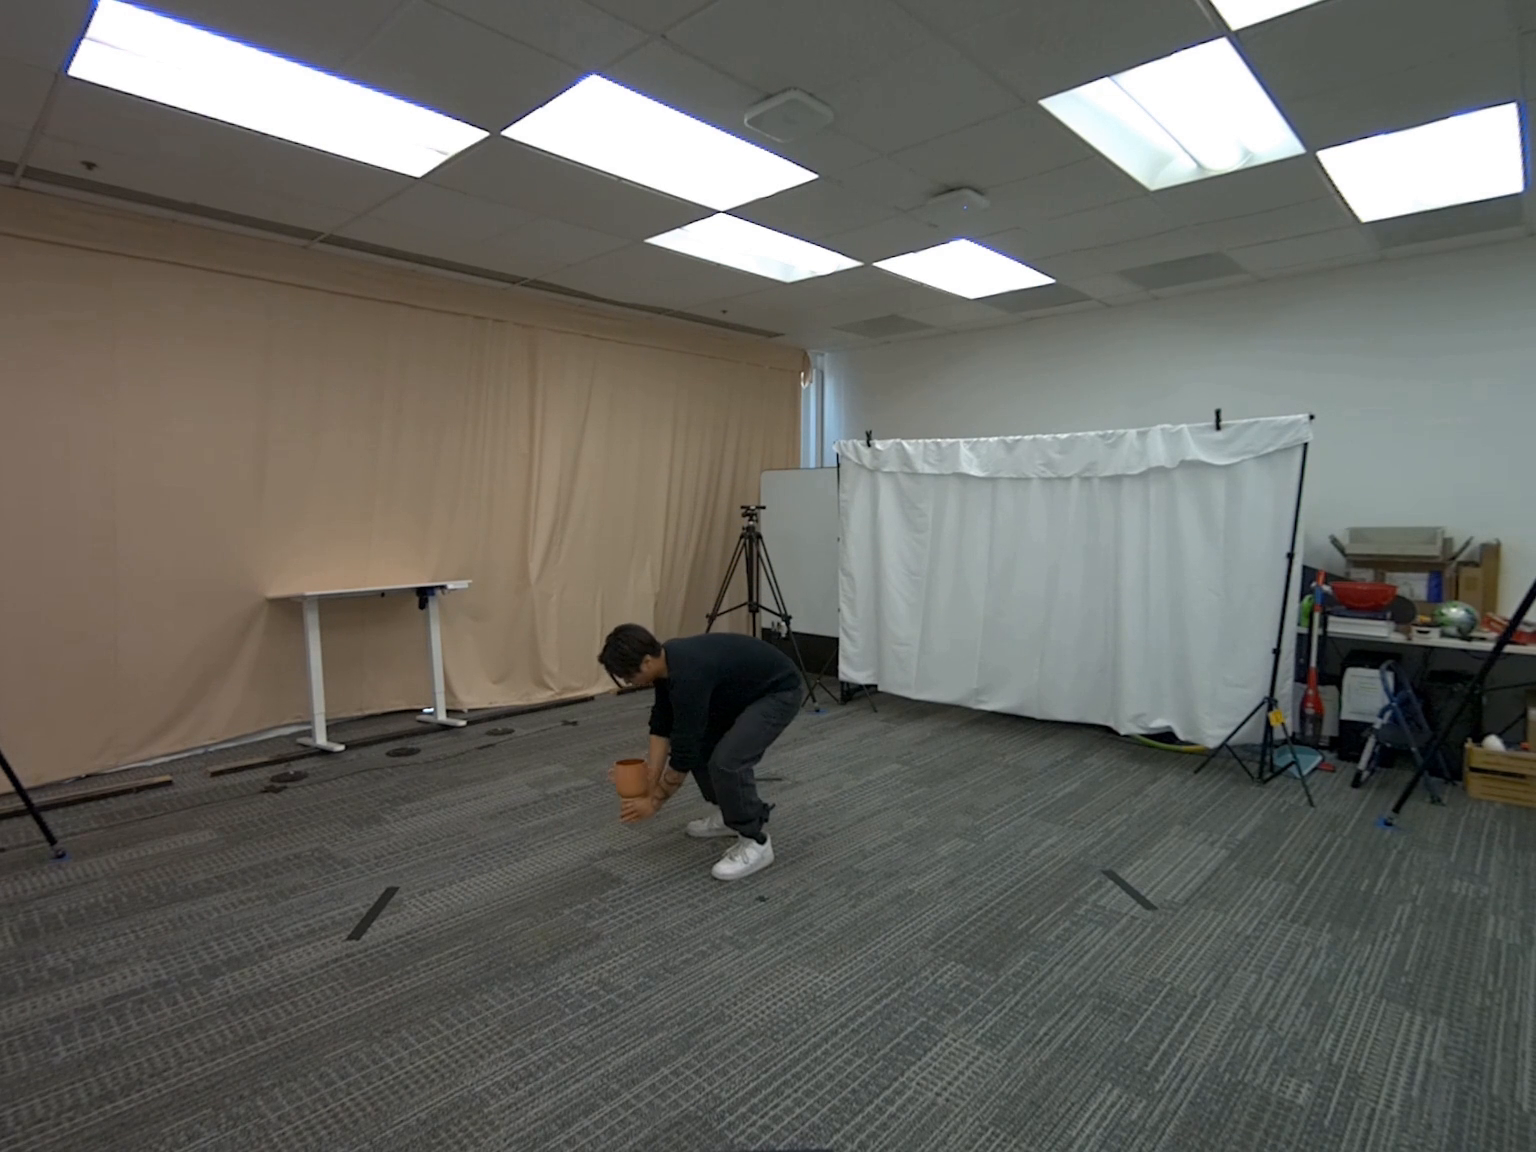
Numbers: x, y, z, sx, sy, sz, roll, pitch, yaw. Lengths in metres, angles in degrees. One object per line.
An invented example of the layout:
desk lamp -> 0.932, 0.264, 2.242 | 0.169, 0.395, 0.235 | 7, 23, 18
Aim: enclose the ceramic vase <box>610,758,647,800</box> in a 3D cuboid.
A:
ceramic vase -> -0.544, 0.837, 3.339 | 0.164, 0.220, 0.130 | -3, 1, 41
